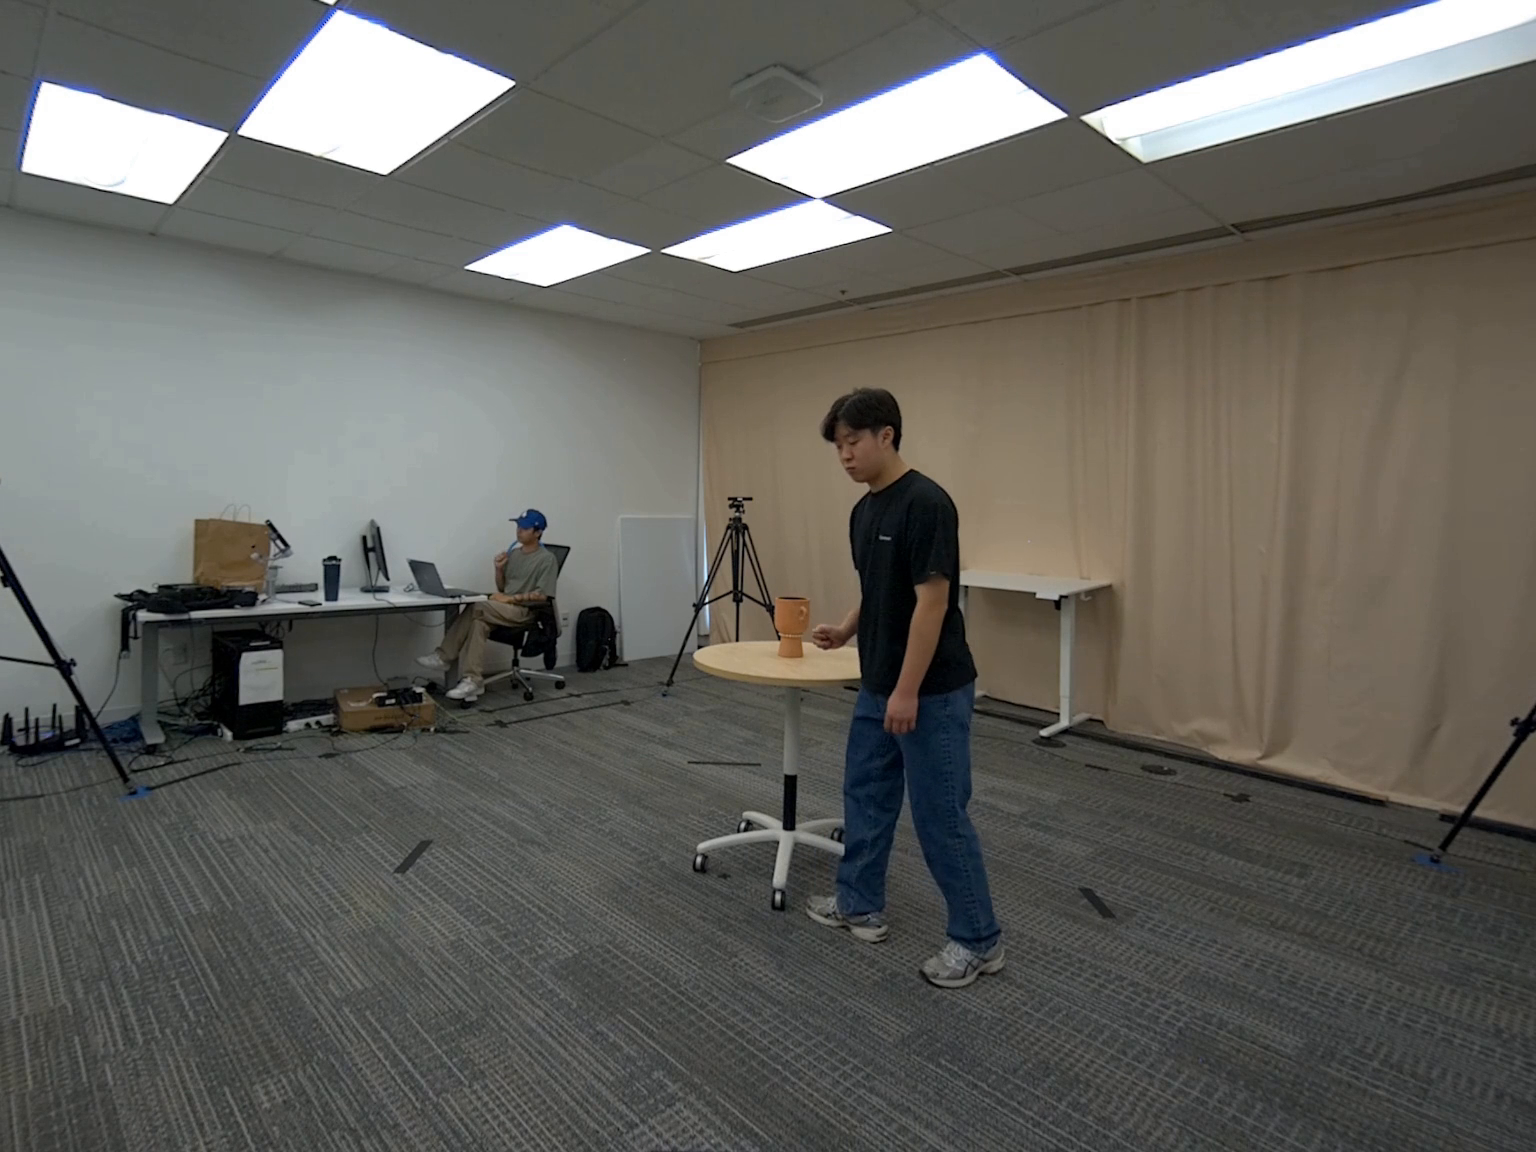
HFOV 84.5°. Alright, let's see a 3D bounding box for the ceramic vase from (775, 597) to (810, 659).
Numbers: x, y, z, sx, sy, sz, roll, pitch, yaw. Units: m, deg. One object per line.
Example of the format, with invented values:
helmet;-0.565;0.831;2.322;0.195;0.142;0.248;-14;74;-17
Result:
ceramic vase;0.080;0.198;3.221;0.136;0.219;0.157;2;3;11
